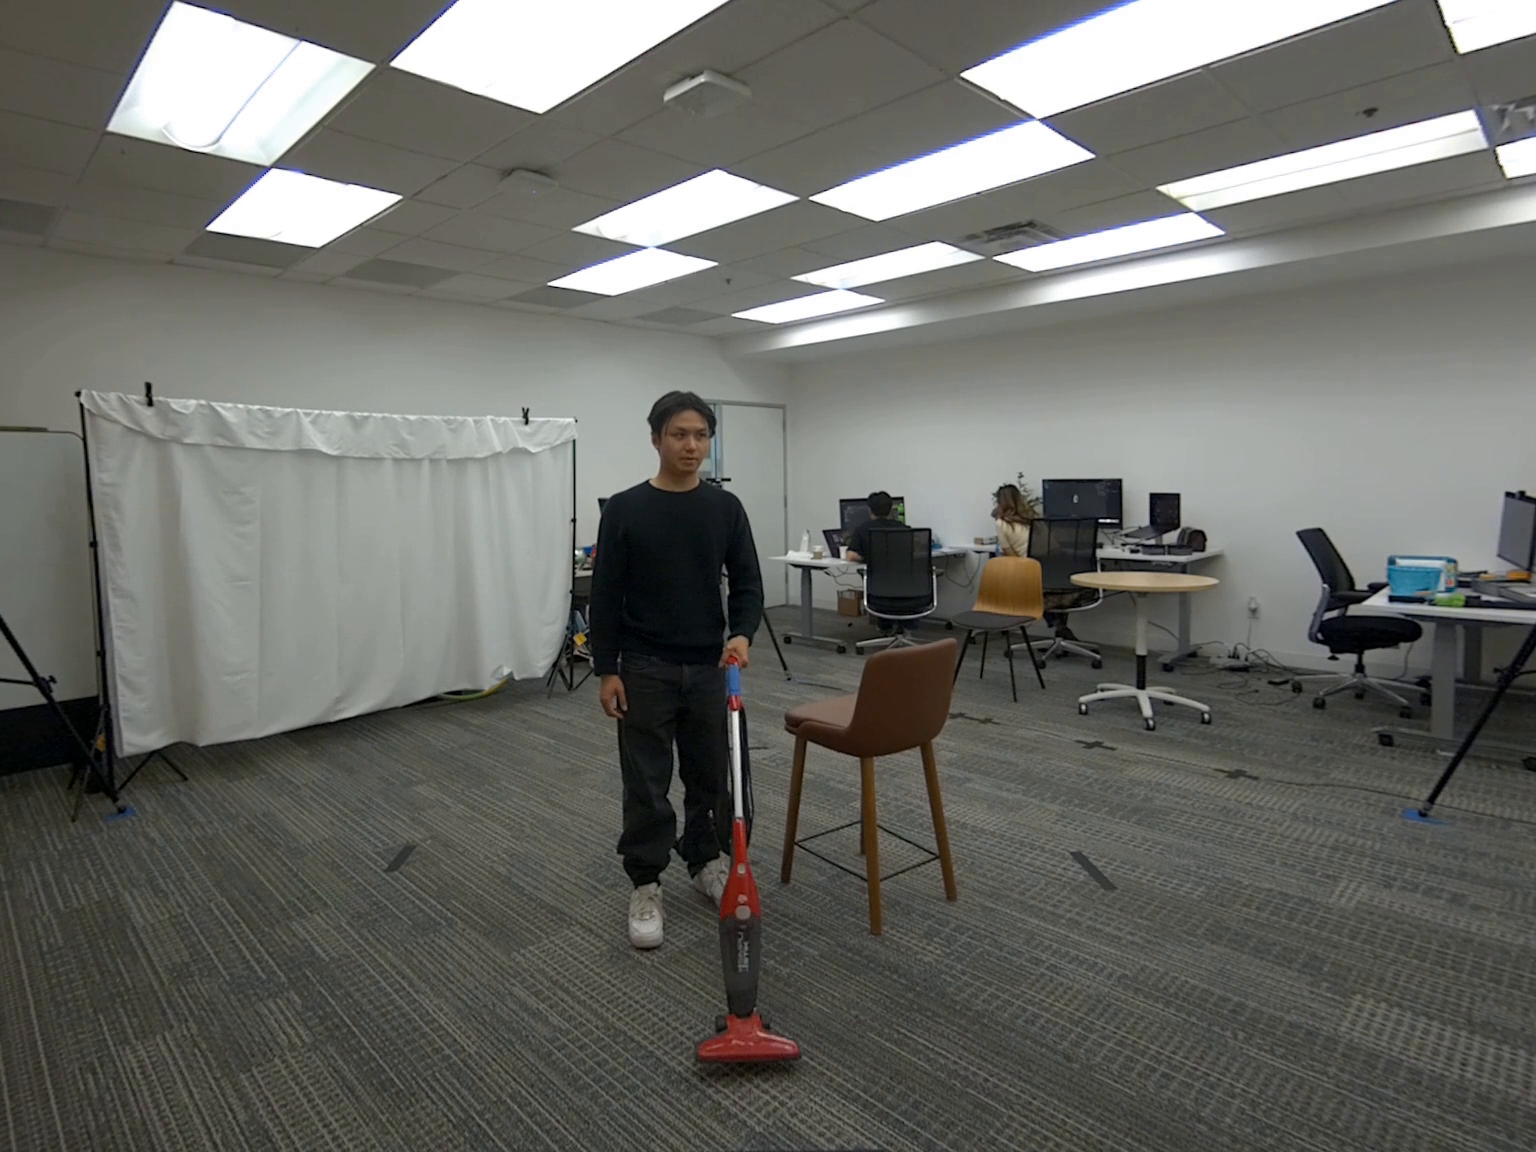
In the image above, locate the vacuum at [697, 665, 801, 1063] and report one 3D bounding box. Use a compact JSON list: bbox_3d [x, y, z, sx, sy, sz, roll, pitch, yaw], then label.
[{"bbox_3d":[-0.074,0.685,2.324,0.251,1.076,0.141,1,-31,-8],"label":"vacuum"}]
